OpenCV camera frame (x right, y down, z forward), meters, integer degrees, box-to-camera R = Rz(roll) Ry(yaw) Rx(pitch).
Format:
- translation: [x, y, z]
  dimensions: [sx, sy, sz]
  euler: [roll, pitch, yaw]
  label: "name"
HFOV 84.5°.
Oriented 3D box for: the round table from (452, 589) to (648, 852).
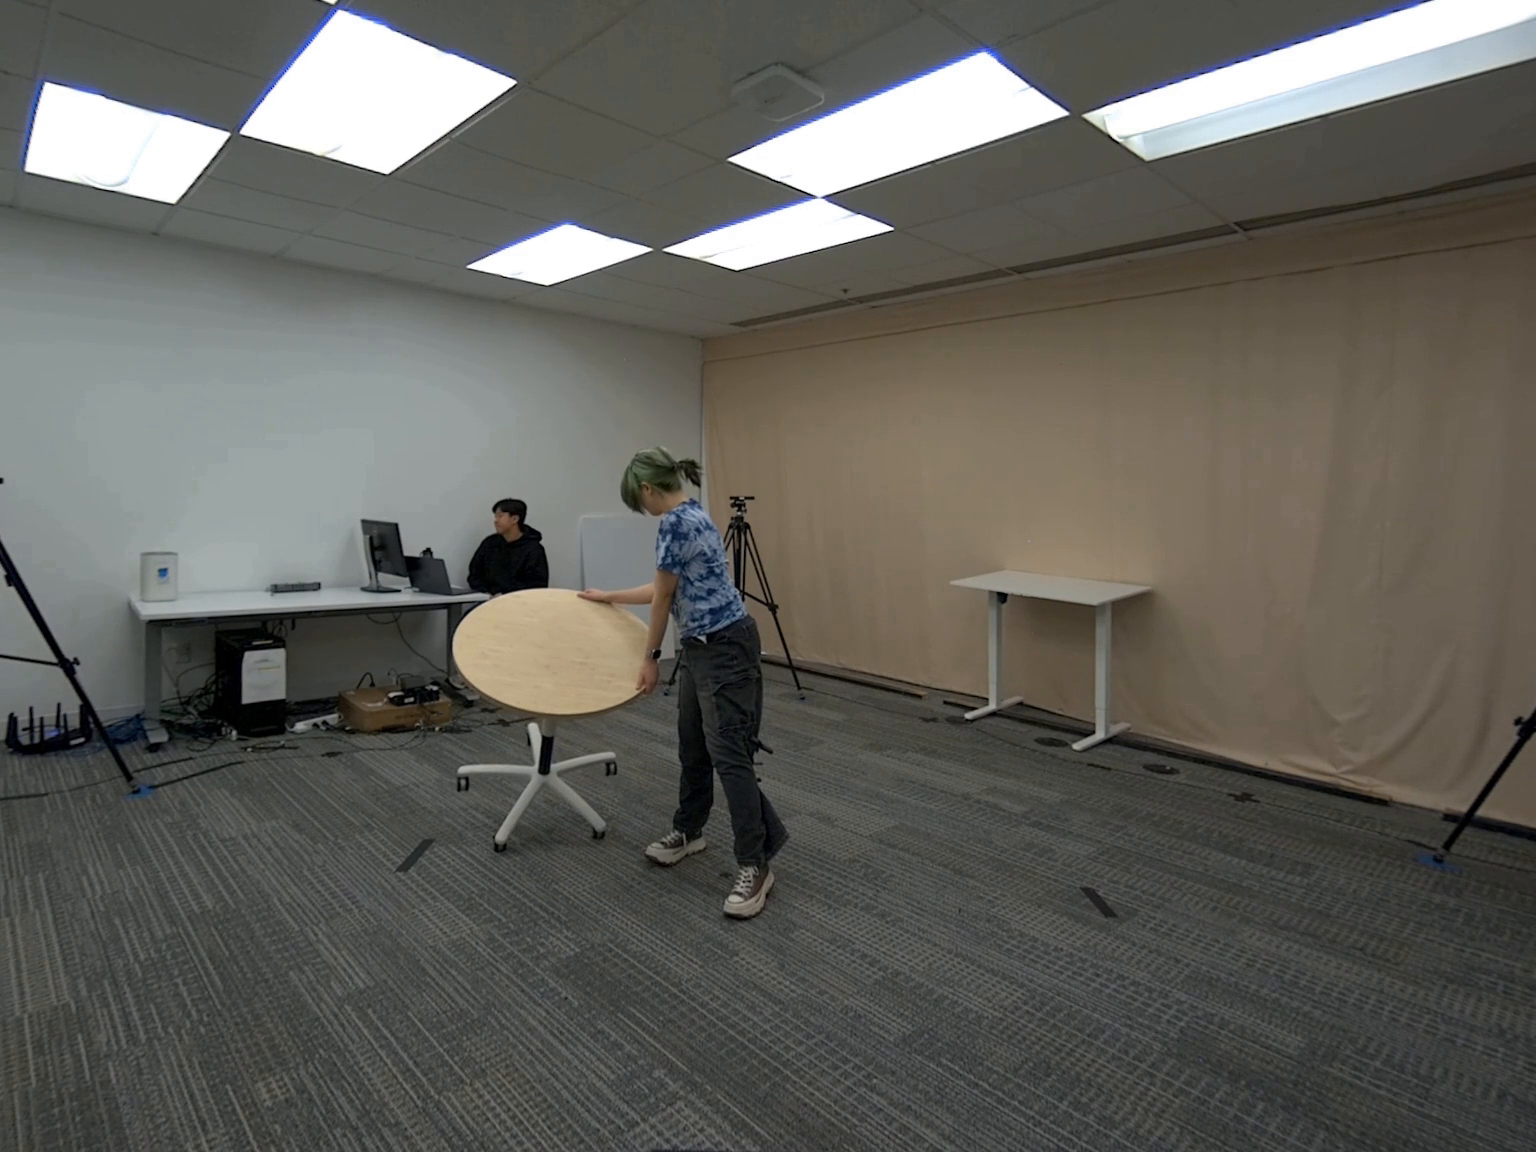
- translation: [-0.884, 0.594, 3.375]
  dimensions: [0.760, 0.783, 0.779]
  euler: [9, 30, -7]
  label: "round table"
